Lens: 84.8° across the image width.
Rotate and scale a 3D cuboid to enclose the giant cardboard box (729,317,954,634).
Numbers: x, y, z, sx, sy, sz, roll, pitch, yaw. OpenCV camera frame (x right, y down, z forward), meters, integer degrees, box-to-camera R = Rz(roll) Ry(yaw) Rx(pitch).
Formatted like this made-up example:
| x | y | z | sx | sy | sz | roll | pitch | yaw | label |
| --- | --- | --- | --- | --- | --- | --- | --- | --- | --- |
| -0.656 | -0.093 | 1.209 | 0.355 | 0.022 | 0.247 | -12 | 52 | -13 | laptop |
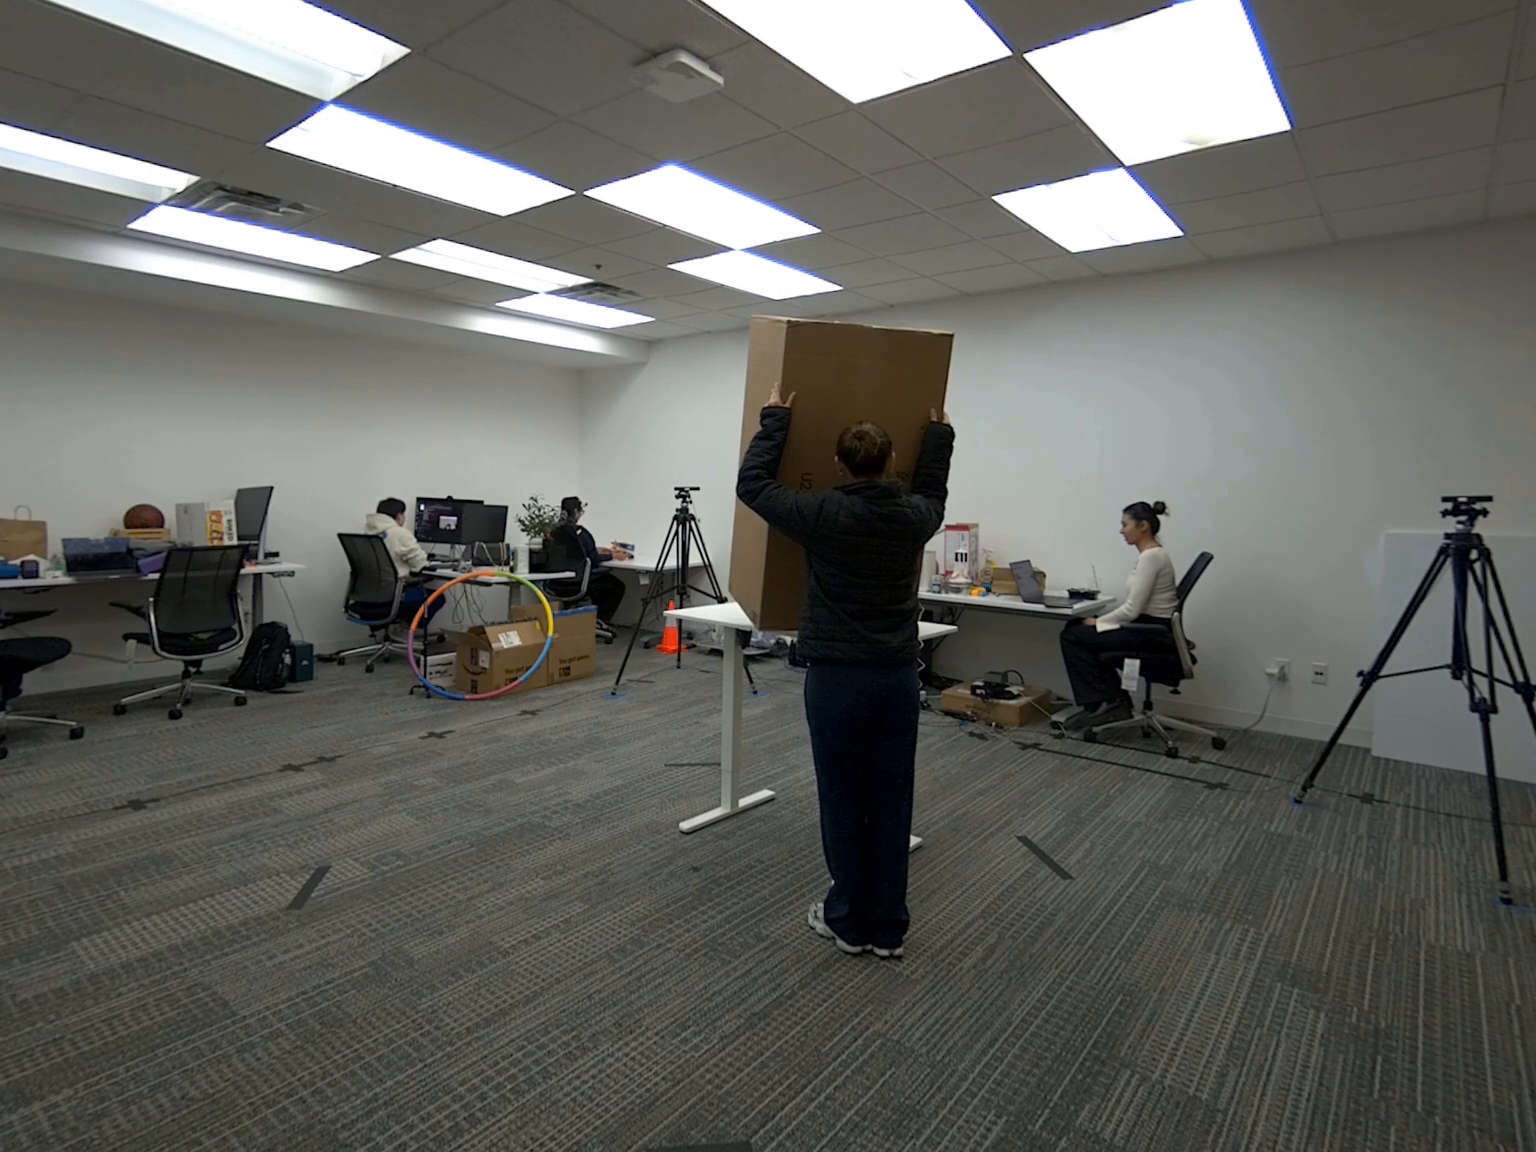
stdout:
| x | y | z | sx | sy | sz | roll | pitch | yaw | label |
| --- | --- | --- | --- | --- | --- | --- | --- | --- | --- |
| 0.238 | -0.366 | 2.991 | 0.576 | 1.014 | 0.459 | 1 | 15 | -14 | giant cardboard box |
